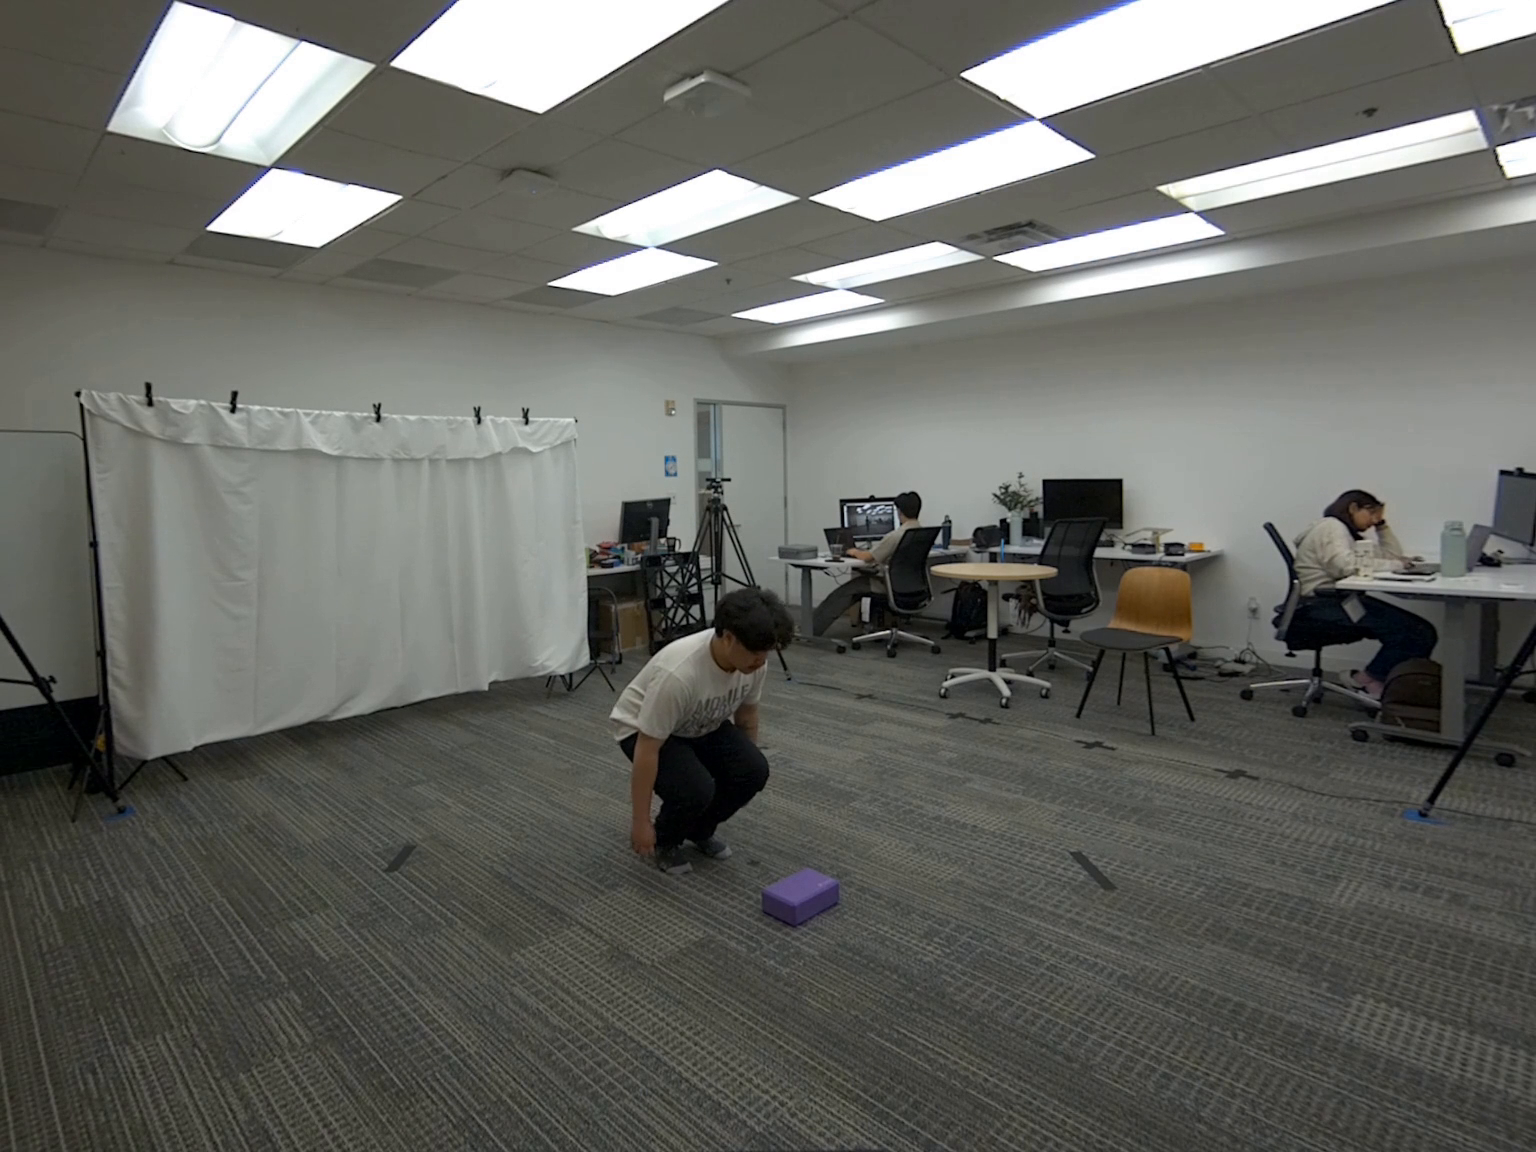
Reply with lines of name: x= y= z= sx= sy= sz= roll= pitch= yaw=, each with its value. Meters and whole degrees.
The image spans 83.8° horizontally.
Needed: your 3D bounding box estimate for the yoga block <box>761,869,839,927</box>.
yoga block: x=0.108 y=1.037 z=2.776 sx=0.153 sy=0.076 sz=0.223 roll=5 pitch=9 yaw=44
